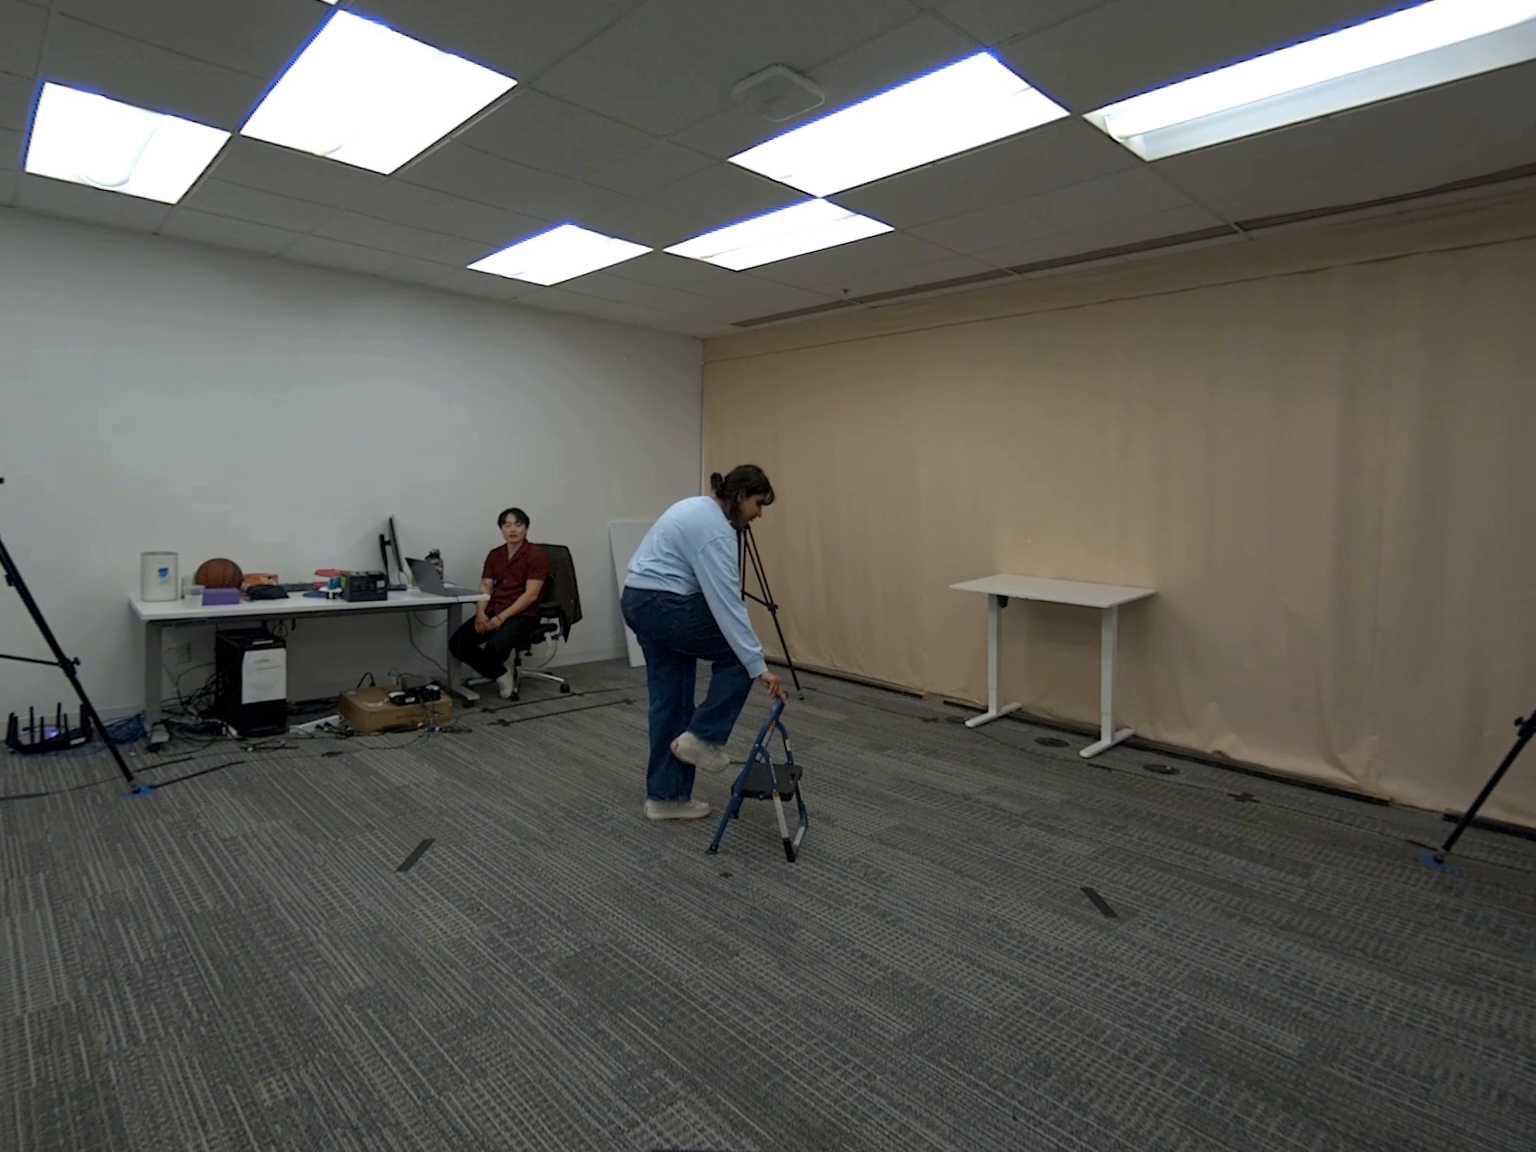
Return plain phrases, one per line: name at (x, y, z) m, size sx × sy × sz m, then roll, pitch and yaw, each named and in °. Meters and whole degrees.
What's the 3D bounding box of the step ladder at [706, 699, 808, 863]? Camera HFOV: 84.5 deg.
step ladder at (-0.028, 0.776, 3.438) m, size 0.353 × 0.604 × 0.427 m, roll 2°, pitch 4°, yaw 11°
